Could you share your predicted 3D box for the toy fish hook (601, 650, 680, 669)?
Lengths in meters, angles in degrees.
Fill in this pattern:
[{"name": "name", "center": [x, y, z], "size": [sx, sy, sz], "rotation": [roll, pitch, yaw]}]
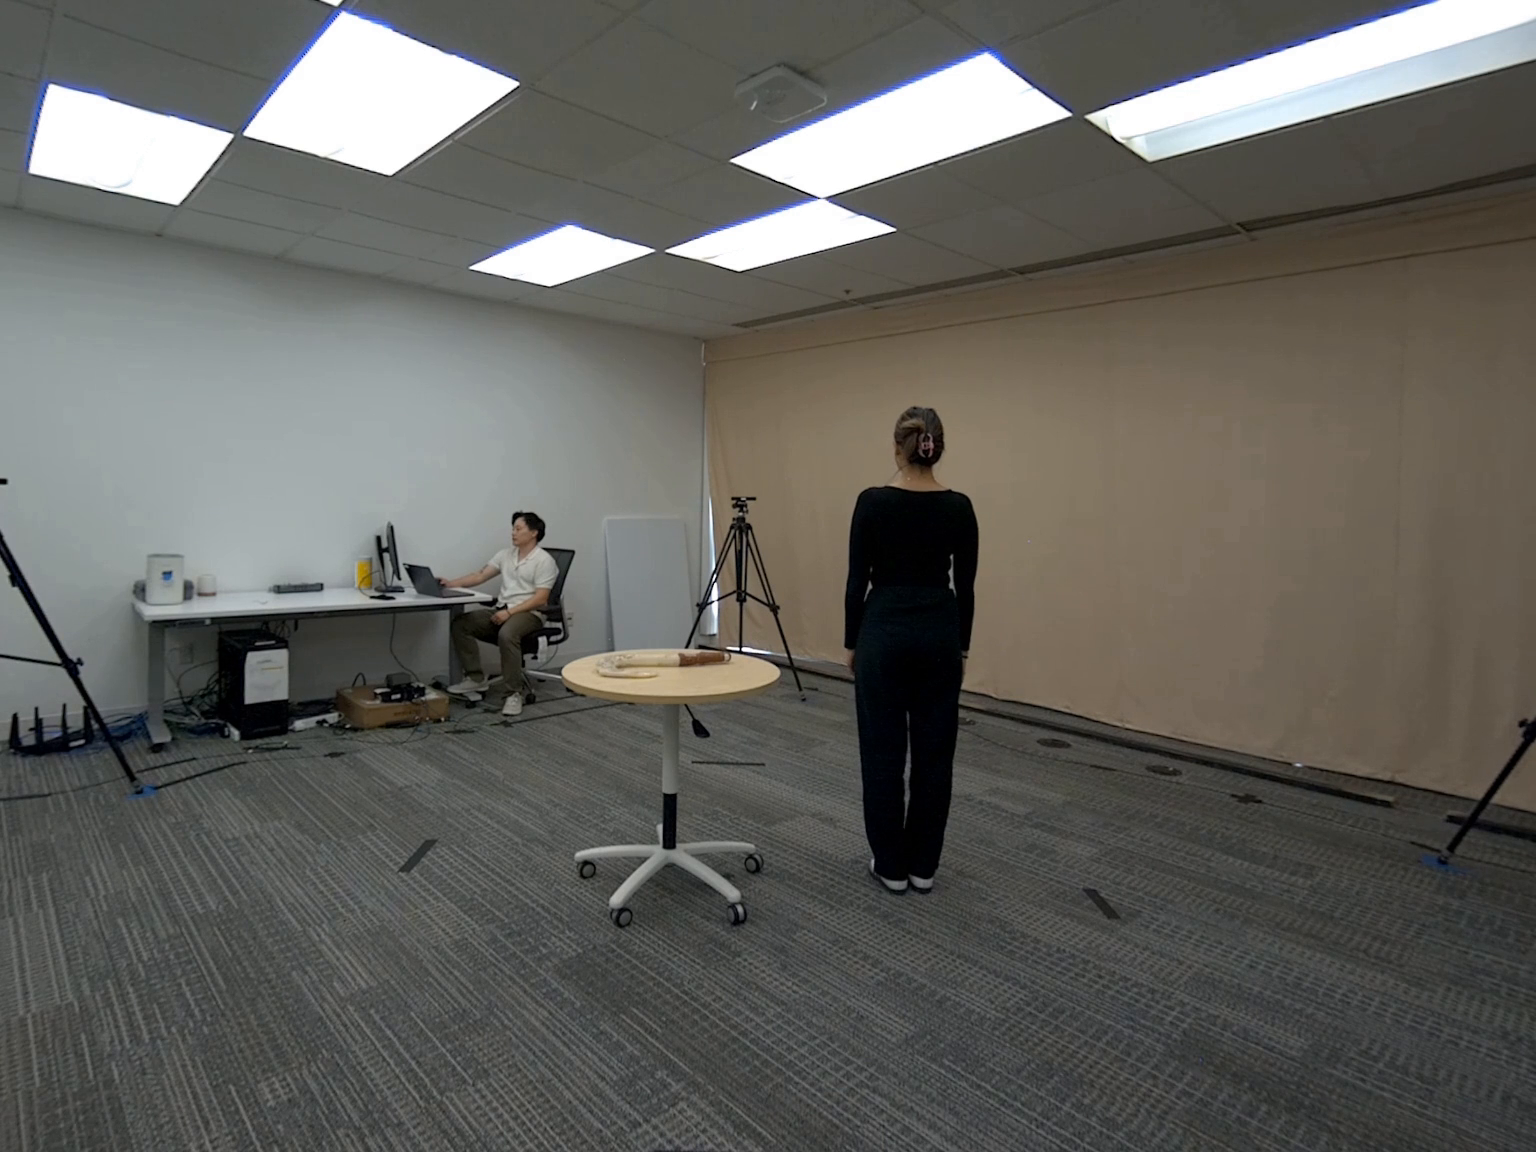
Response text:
[{"name": "toy fish hook", "center": [-0.349, 0.320, 2.958], "size": [0.499, 0.048, 0.229], "rotation": [-3, 11, -20]}]
